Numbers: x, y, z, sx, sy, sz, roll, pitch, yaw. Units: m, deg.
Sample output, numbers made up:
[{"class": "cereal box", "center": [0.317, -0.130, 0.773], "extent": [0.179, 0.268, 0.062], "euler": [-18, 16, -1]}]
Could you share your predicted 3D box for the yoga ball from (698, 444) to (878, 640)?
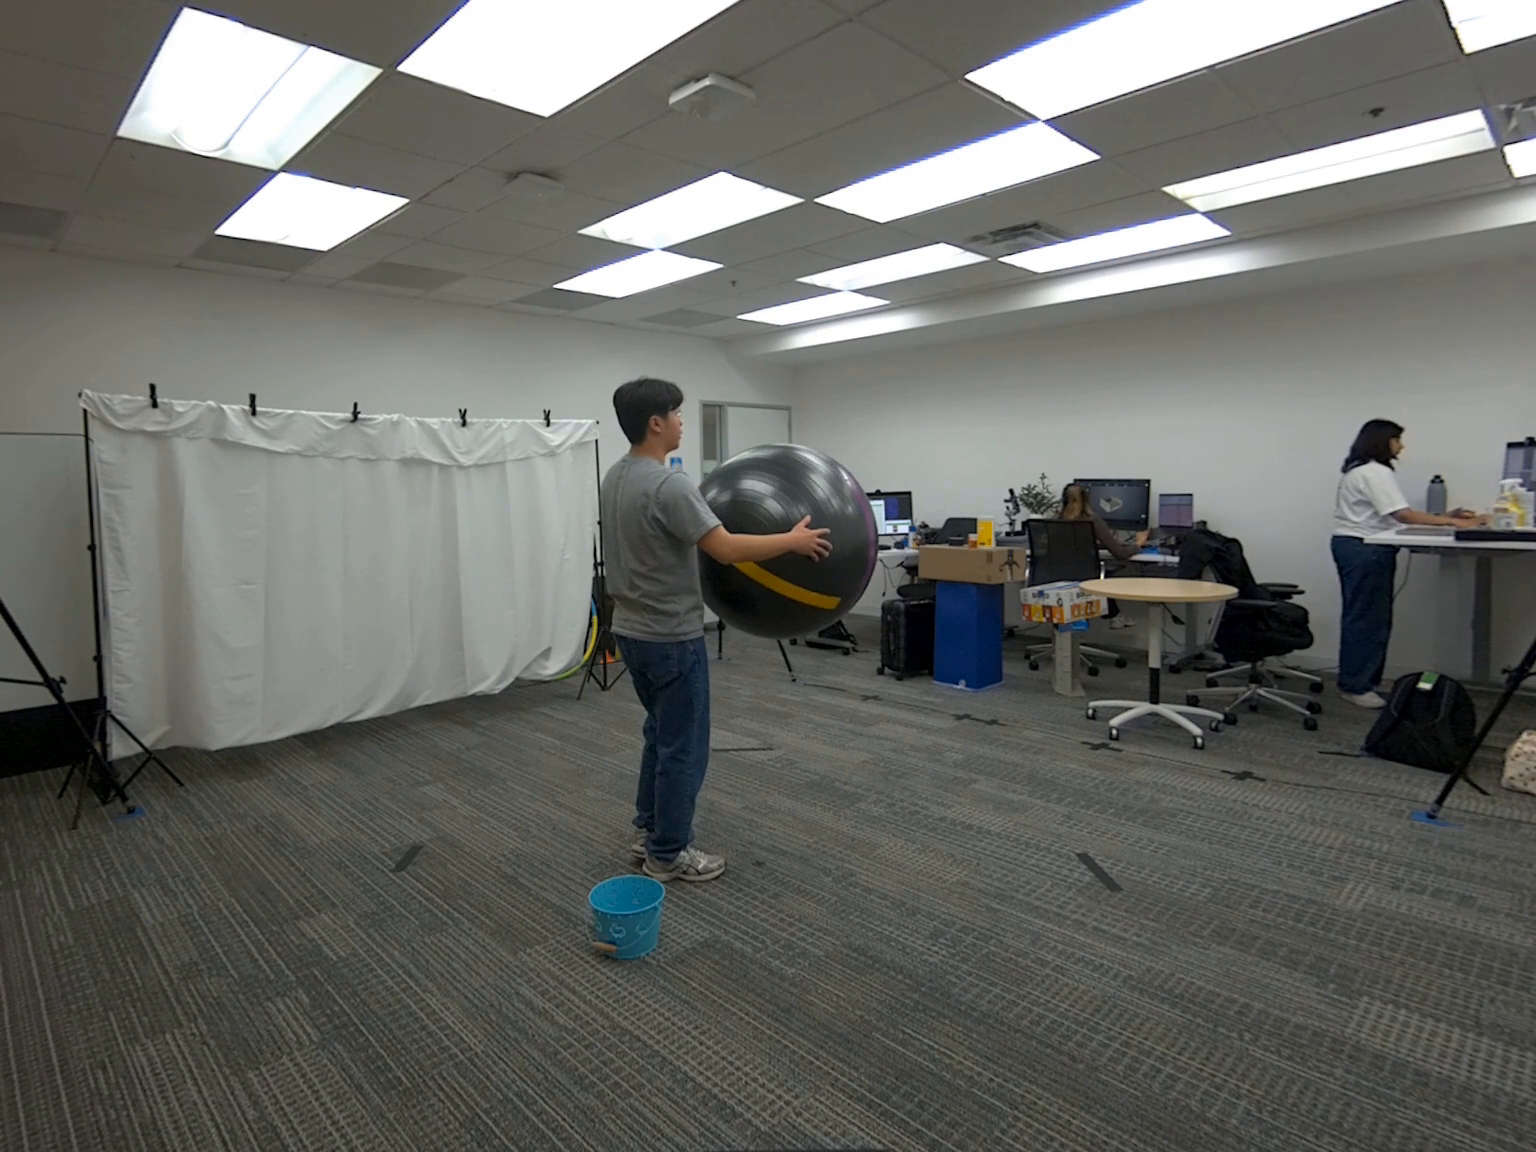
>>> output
[{"class": "yoga ball", "center": [0.043, -0.132, 3.340], "extent": [0.757, 0.755, 0.762], "euler": [-1, 5, -2]}]
